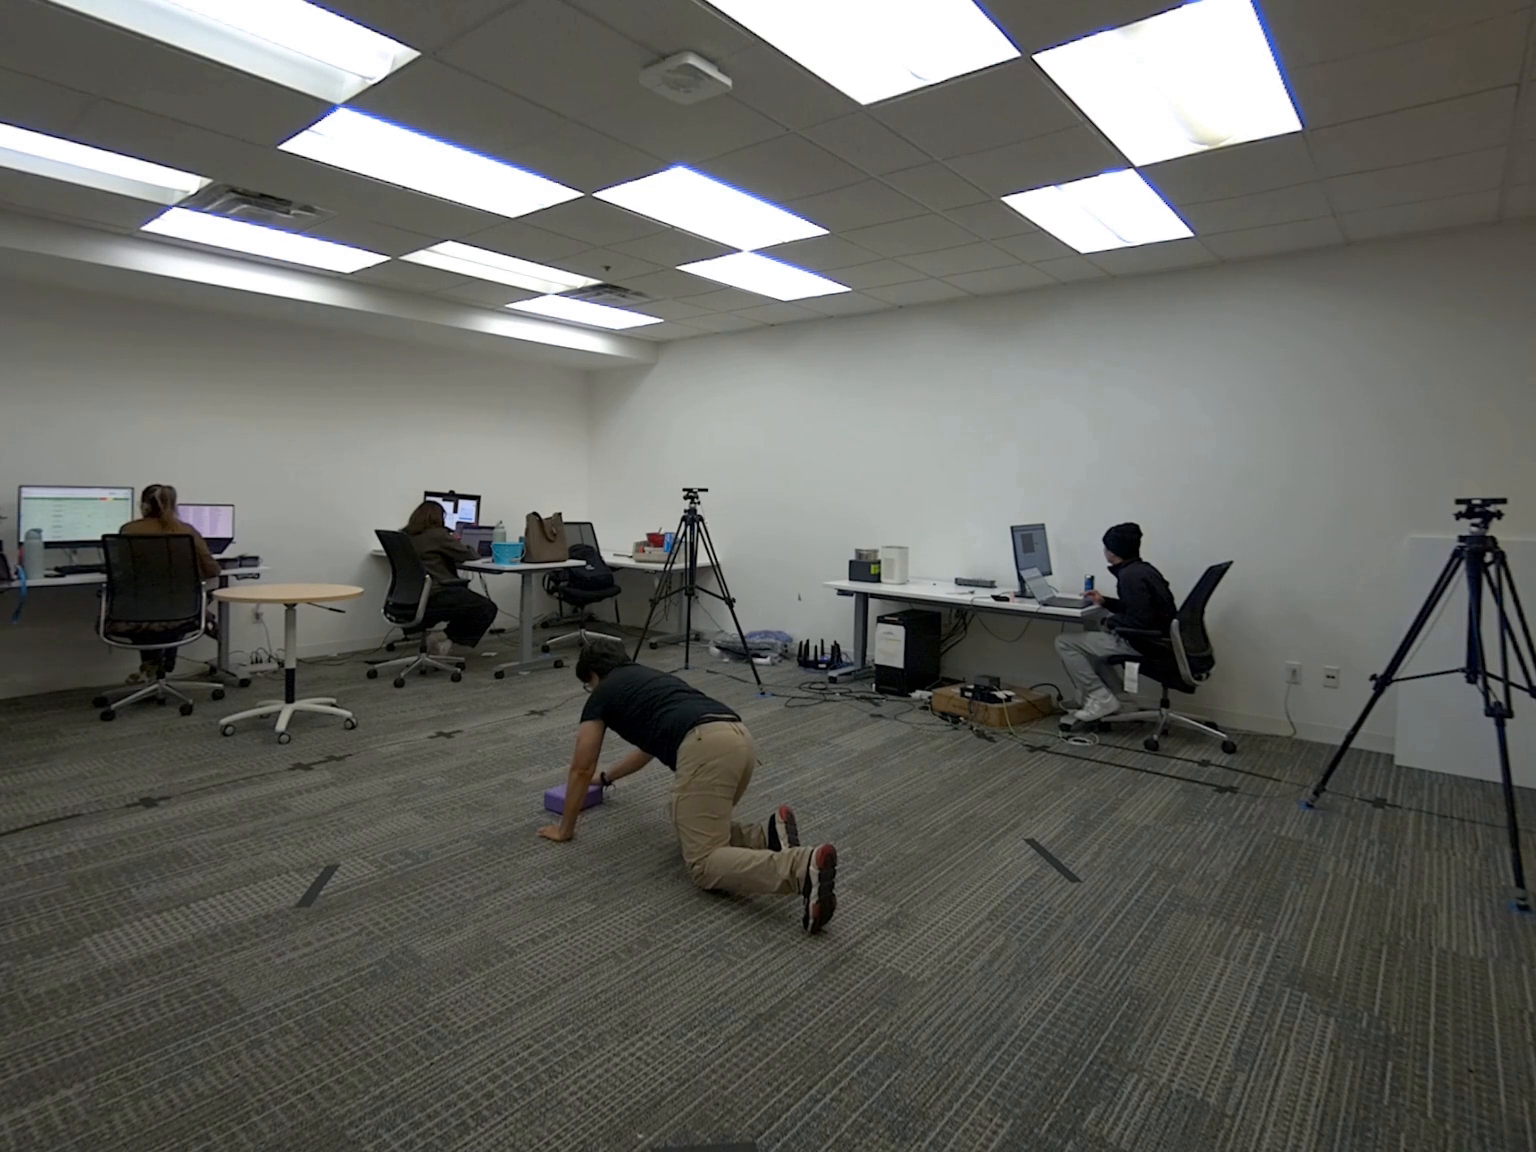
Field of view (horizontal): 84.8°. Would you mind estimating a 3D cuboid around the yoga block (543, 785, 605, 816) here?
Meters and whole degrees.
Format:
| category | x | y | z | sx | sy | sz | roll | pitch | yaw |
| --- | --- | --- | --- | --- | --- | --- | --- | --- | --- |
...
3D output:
| category | x | y | z | sx | sy | sz | roll | pitch | yaw |
| --- | --- | --- | --- | --- | --- | --- | --- | --- | --- |
| yoga block | -0.860 | 0.960 | 3.716 | 0.153 | 0.076 | 0.223 | 2 | 4 | 33 |
